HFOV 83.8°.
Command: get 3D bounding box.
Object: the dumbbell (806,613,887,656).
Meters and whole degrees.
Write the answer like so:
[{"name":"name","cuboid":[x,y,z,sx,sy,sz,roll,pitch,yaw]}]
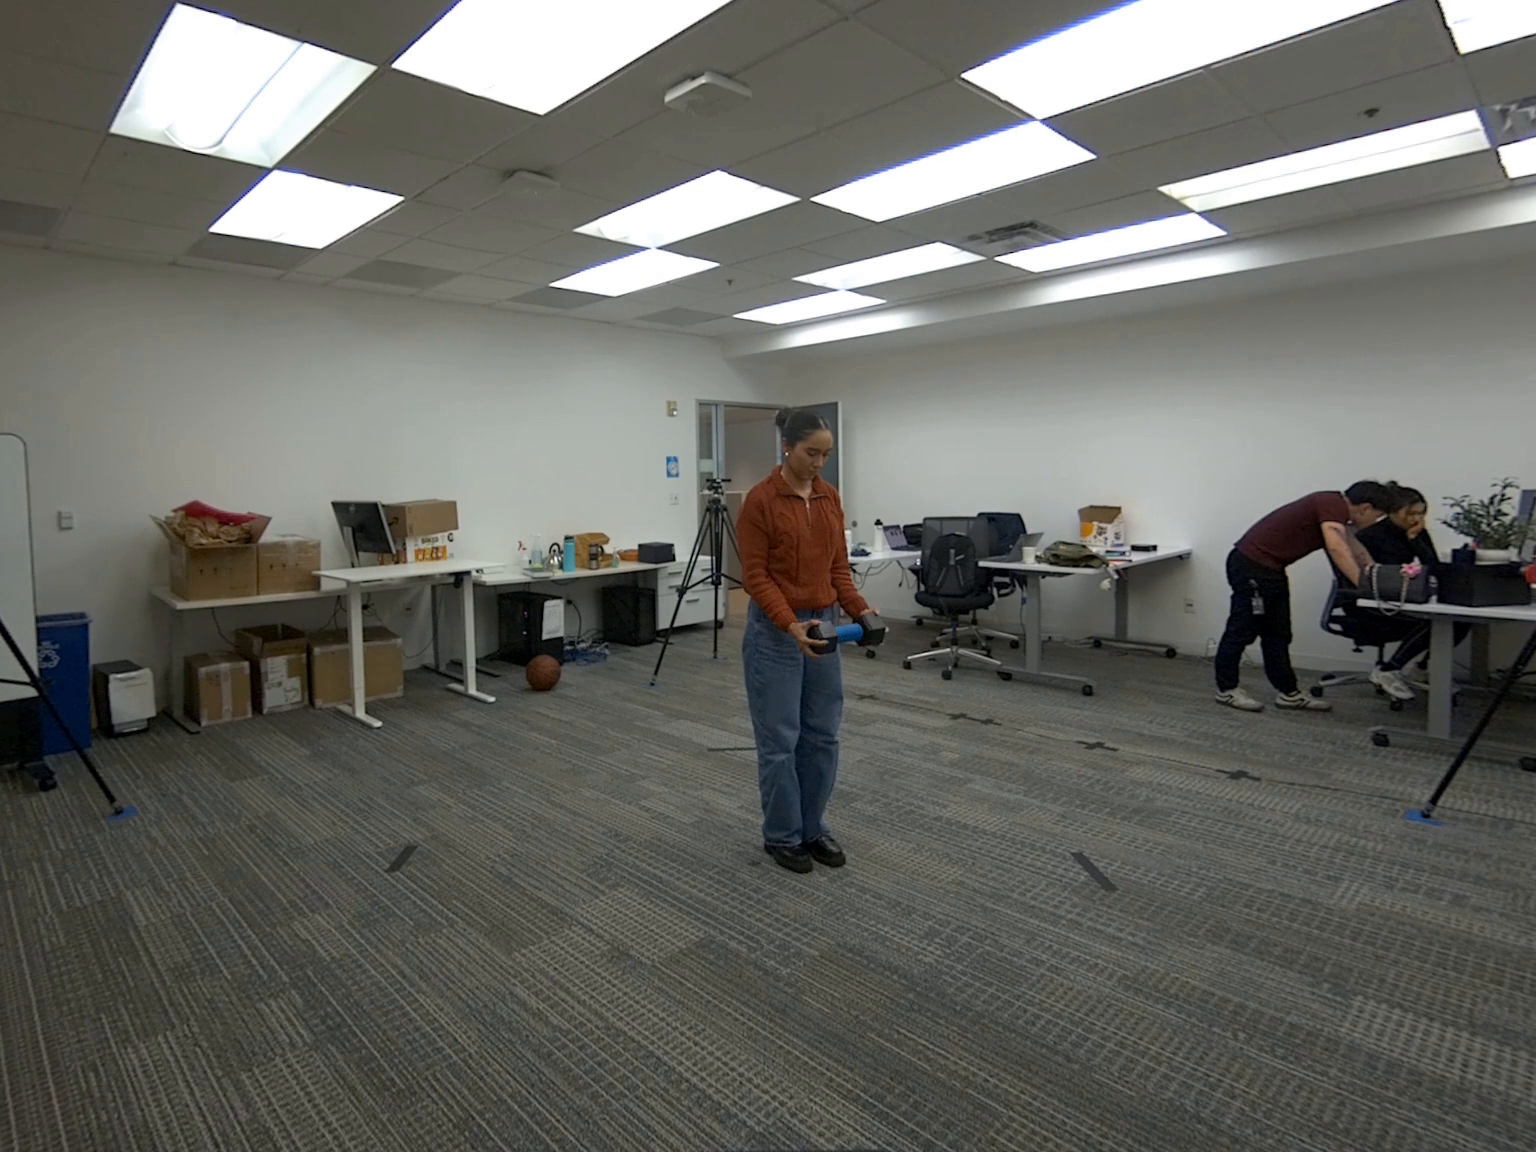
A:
[{"name":"dumbbell","cuboid":[0.247,0.193,2.933,0.287,0.127,0.108,-8,-35,-34]}]
